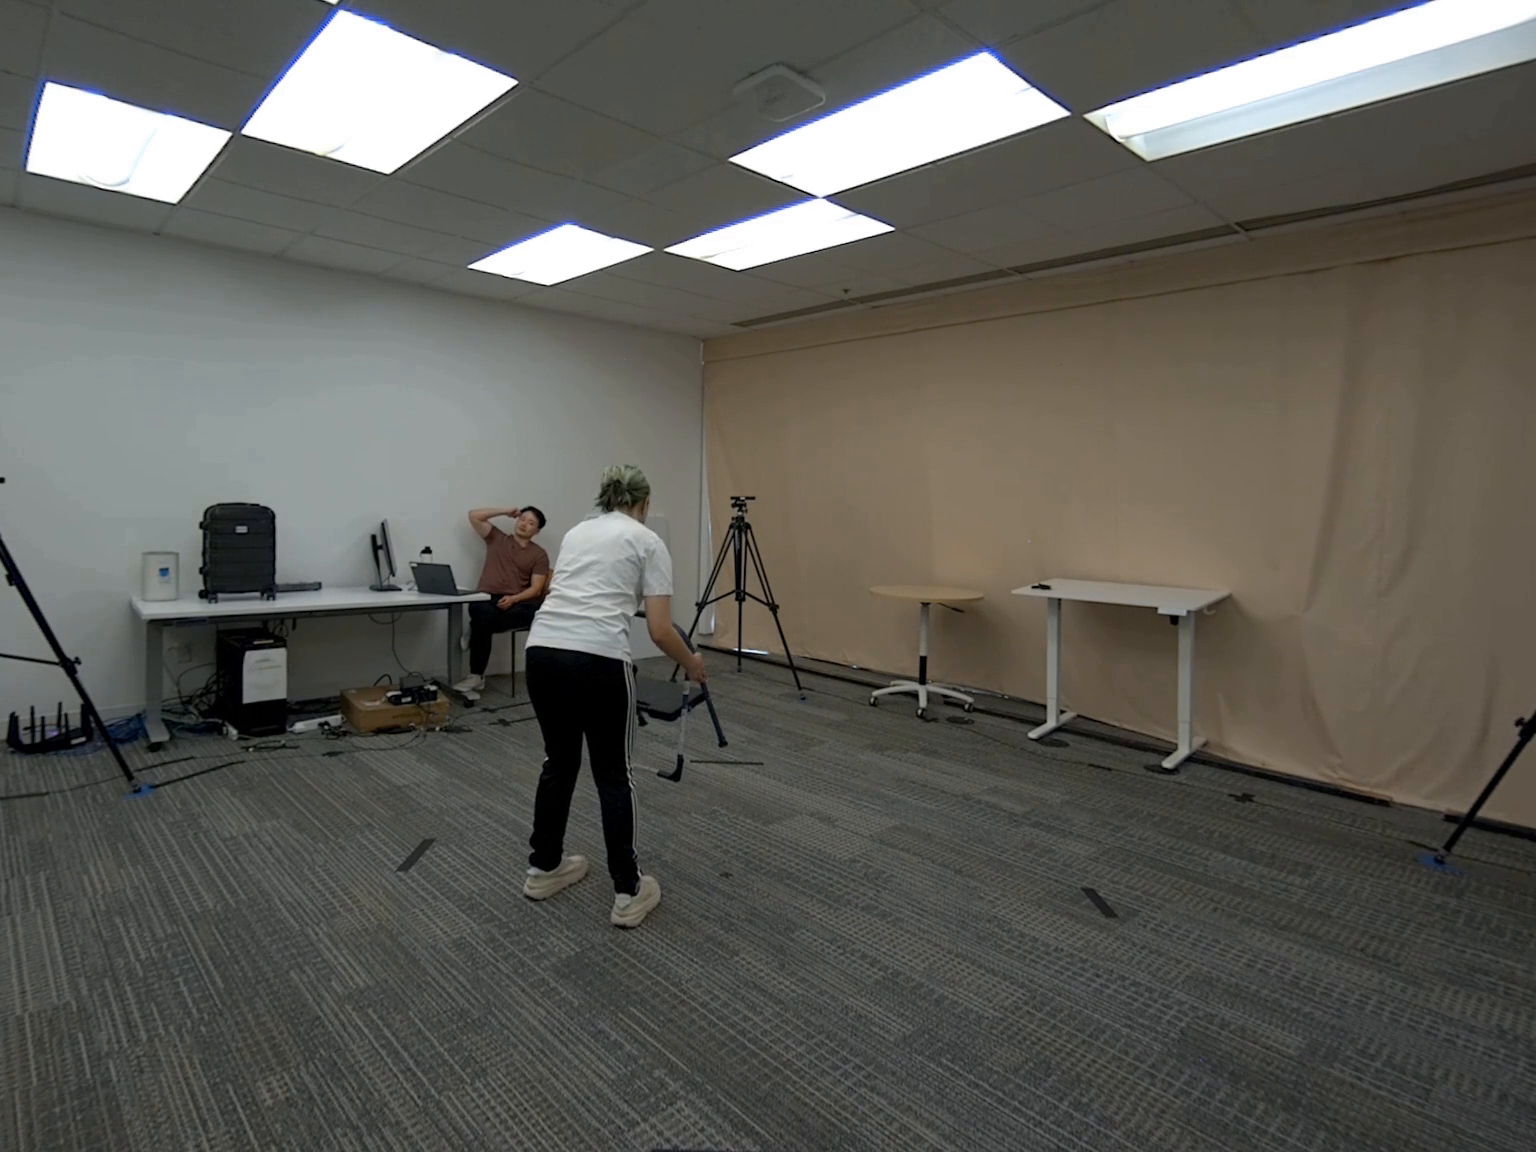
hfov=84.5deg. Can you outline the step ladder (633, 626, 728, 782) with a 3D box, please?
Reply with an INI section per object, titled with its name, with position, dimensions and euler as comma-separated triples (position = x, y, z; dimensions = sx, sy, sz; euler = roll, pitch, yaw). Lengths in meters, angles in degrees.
[step ladder]
position = -0.438, 0.401, 3.236
dimensions = 0.440, 0.599, 0.345
euler = 8, 17, 30
